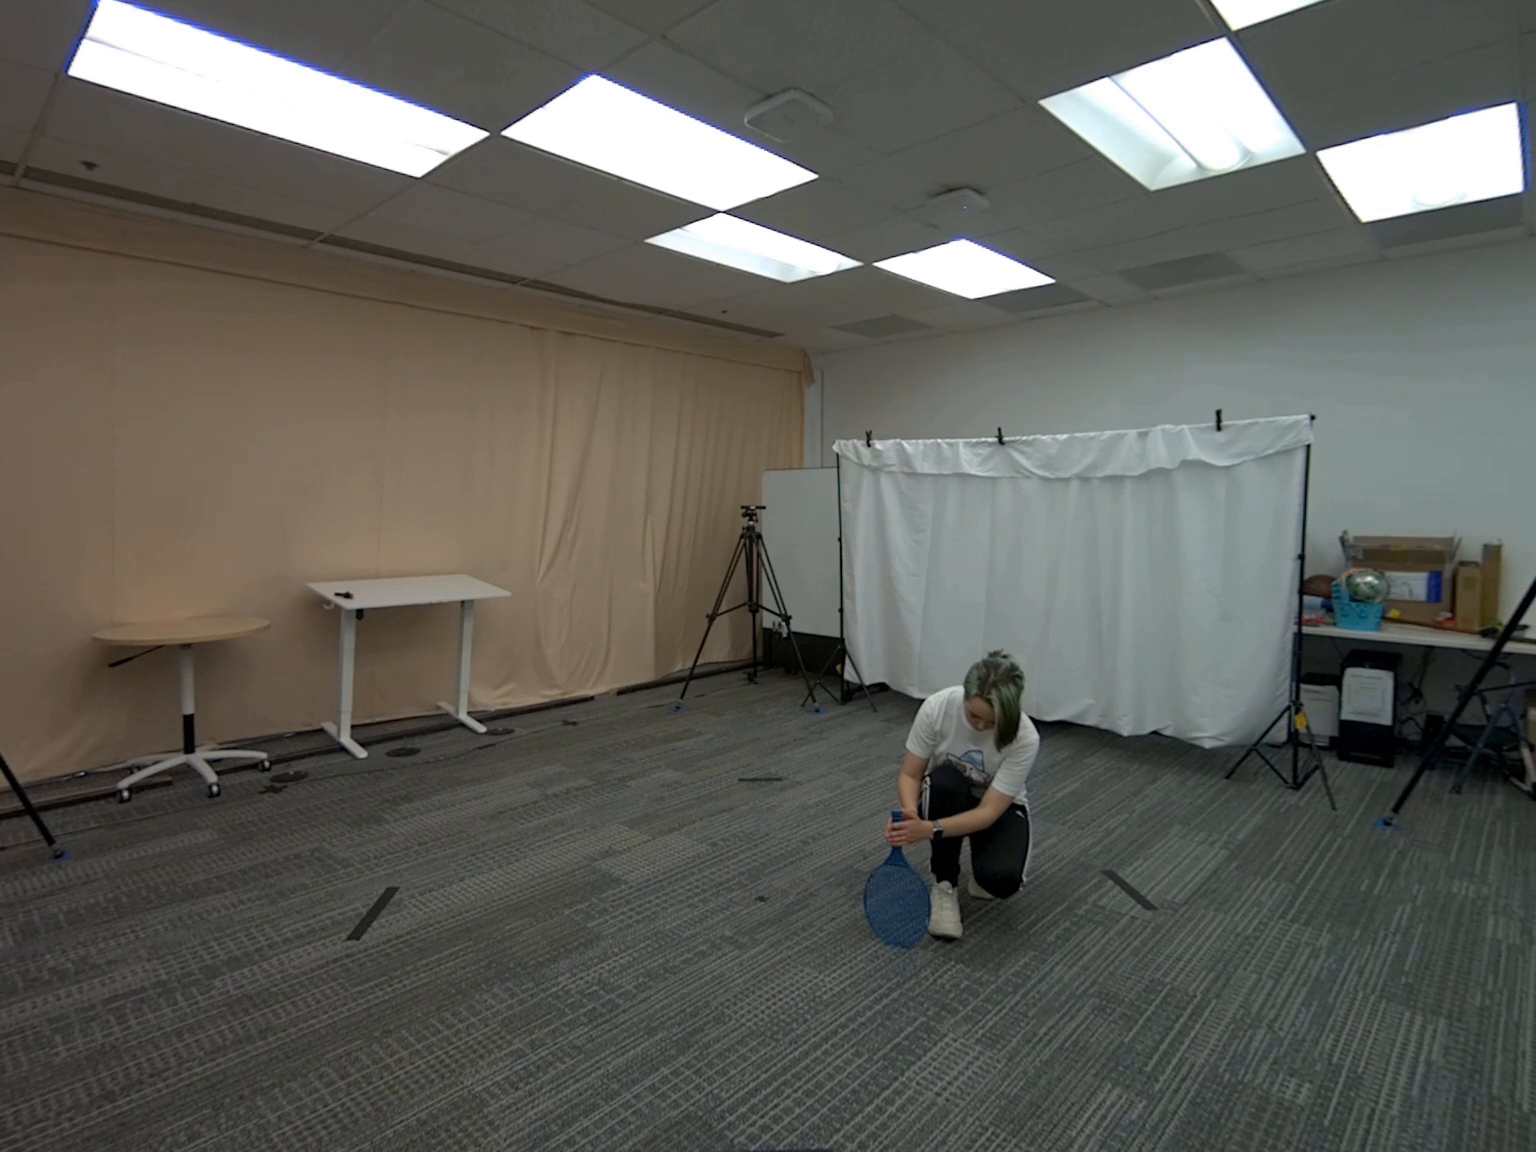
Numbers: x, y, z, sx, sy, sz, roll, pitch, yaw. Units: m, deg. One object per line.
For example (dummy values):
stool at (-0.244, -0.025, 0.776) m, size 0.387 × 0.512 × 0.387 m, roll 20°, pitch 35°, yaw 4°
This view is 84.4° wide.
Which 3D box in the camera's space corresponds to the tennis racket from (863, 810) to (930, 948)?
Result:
tennis racket at (0.420, 0.956, 2.650) m, size 0.218 × 0.432 × 0.031 m, roll 1°, pitch 3°, yaw 21°
